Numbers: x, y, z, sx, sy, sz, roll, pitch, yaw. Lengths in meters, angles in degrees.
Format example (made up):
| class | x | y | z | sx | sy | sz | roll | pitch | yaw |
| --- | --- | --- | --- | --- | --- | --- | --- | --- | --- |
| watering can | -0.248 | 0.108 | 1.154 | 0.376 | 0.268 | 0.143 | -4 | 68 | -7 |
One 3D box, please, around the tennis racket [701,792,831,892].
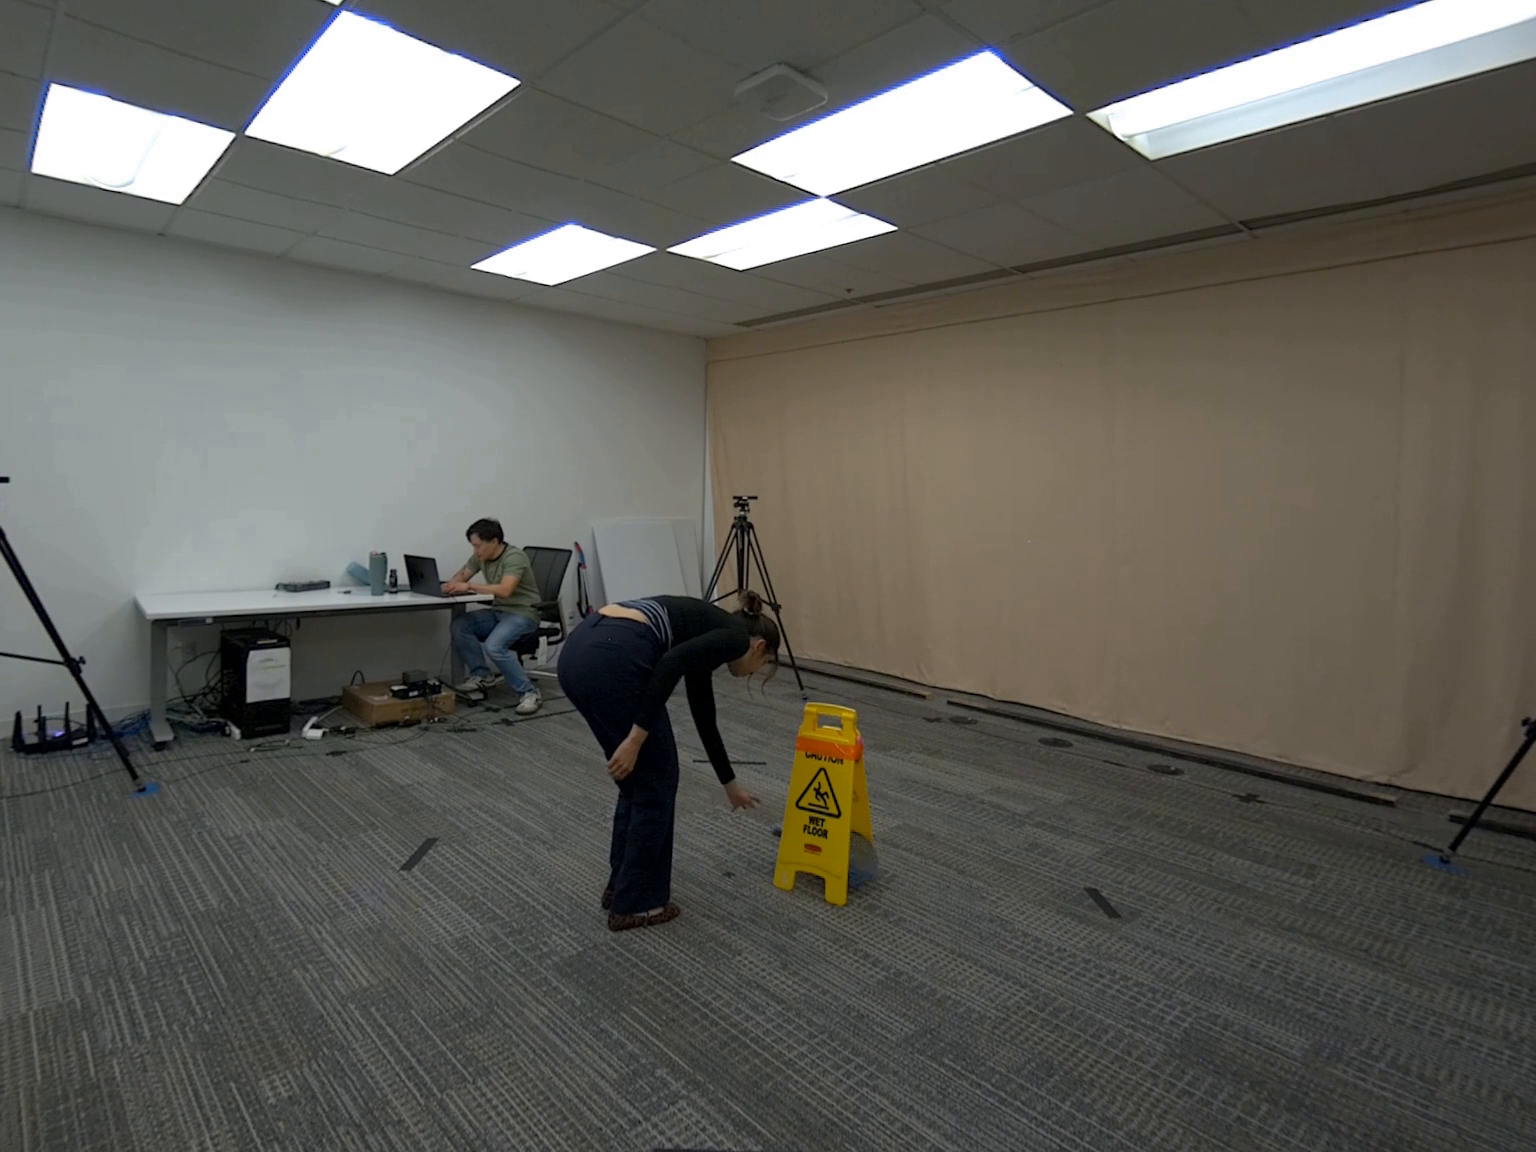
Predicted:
| class | x | y | z | sx | sy | sz | roll | pitch | yaw |
| --- | --- | --- | --- | --- | --- | --- | --- | --- | --- |
| tennis racket | -0.011 | 0.970 | 3.168 | 0.441 | 0.031 | 0.214 | 25 | 44 | 18 |
